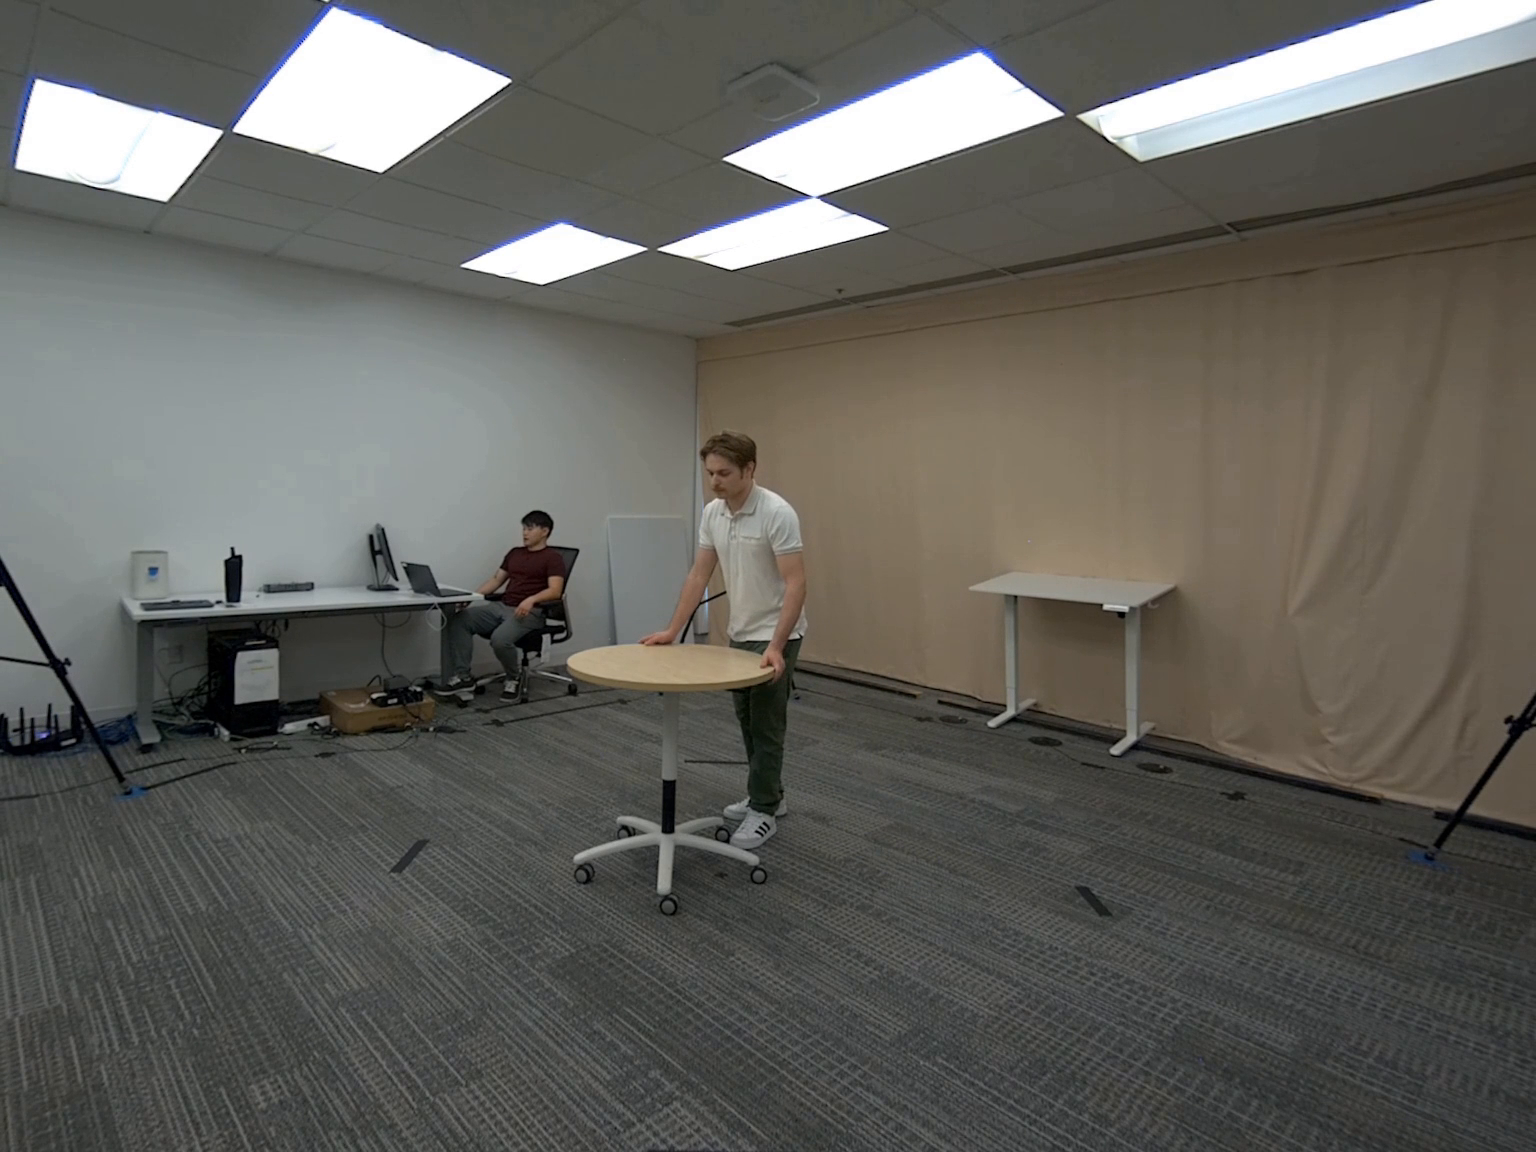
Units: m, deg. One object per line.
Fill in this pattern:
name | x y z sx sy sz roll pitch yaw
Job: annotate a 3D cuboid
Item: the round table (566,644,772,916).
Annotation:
round table | -0.371 0.708 3.121 0.763 0.792 0.766 1 4 -1
